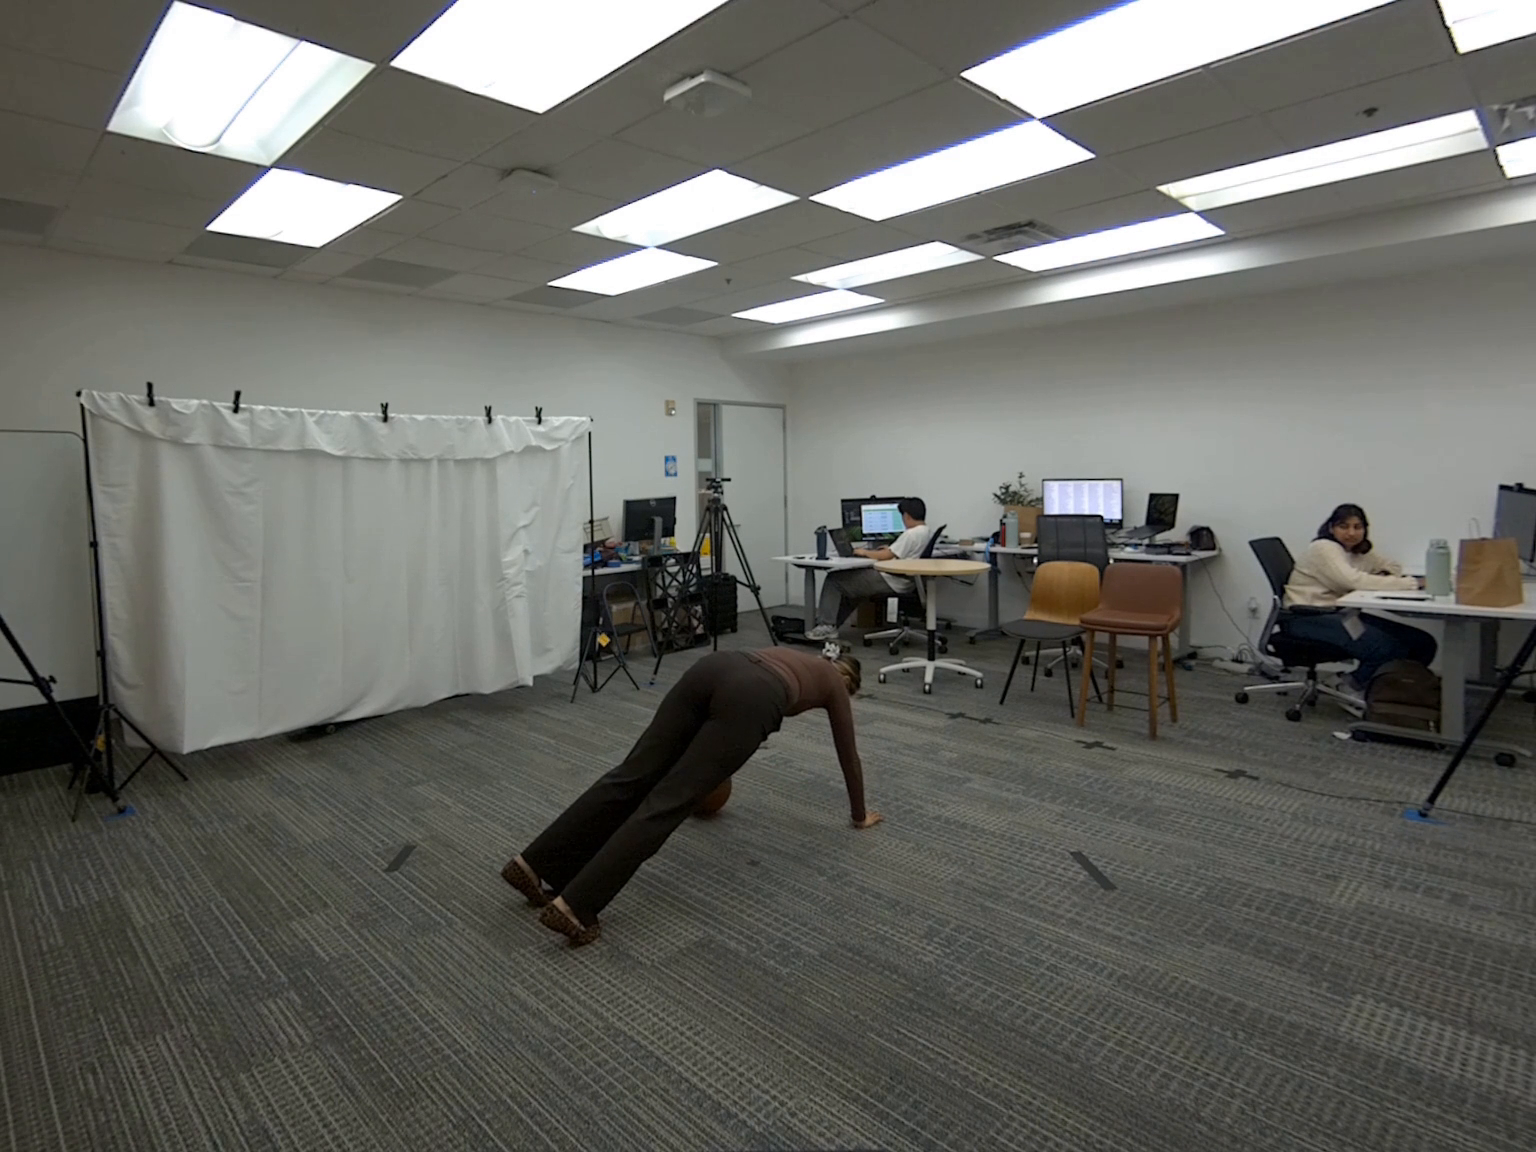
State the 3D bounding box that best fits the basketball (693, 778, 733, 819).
[{"bbox_3d":[-0.264,0.876,3.576,0.236,0.235,0.237,-1,5,-2],"label":"basketball"}]
